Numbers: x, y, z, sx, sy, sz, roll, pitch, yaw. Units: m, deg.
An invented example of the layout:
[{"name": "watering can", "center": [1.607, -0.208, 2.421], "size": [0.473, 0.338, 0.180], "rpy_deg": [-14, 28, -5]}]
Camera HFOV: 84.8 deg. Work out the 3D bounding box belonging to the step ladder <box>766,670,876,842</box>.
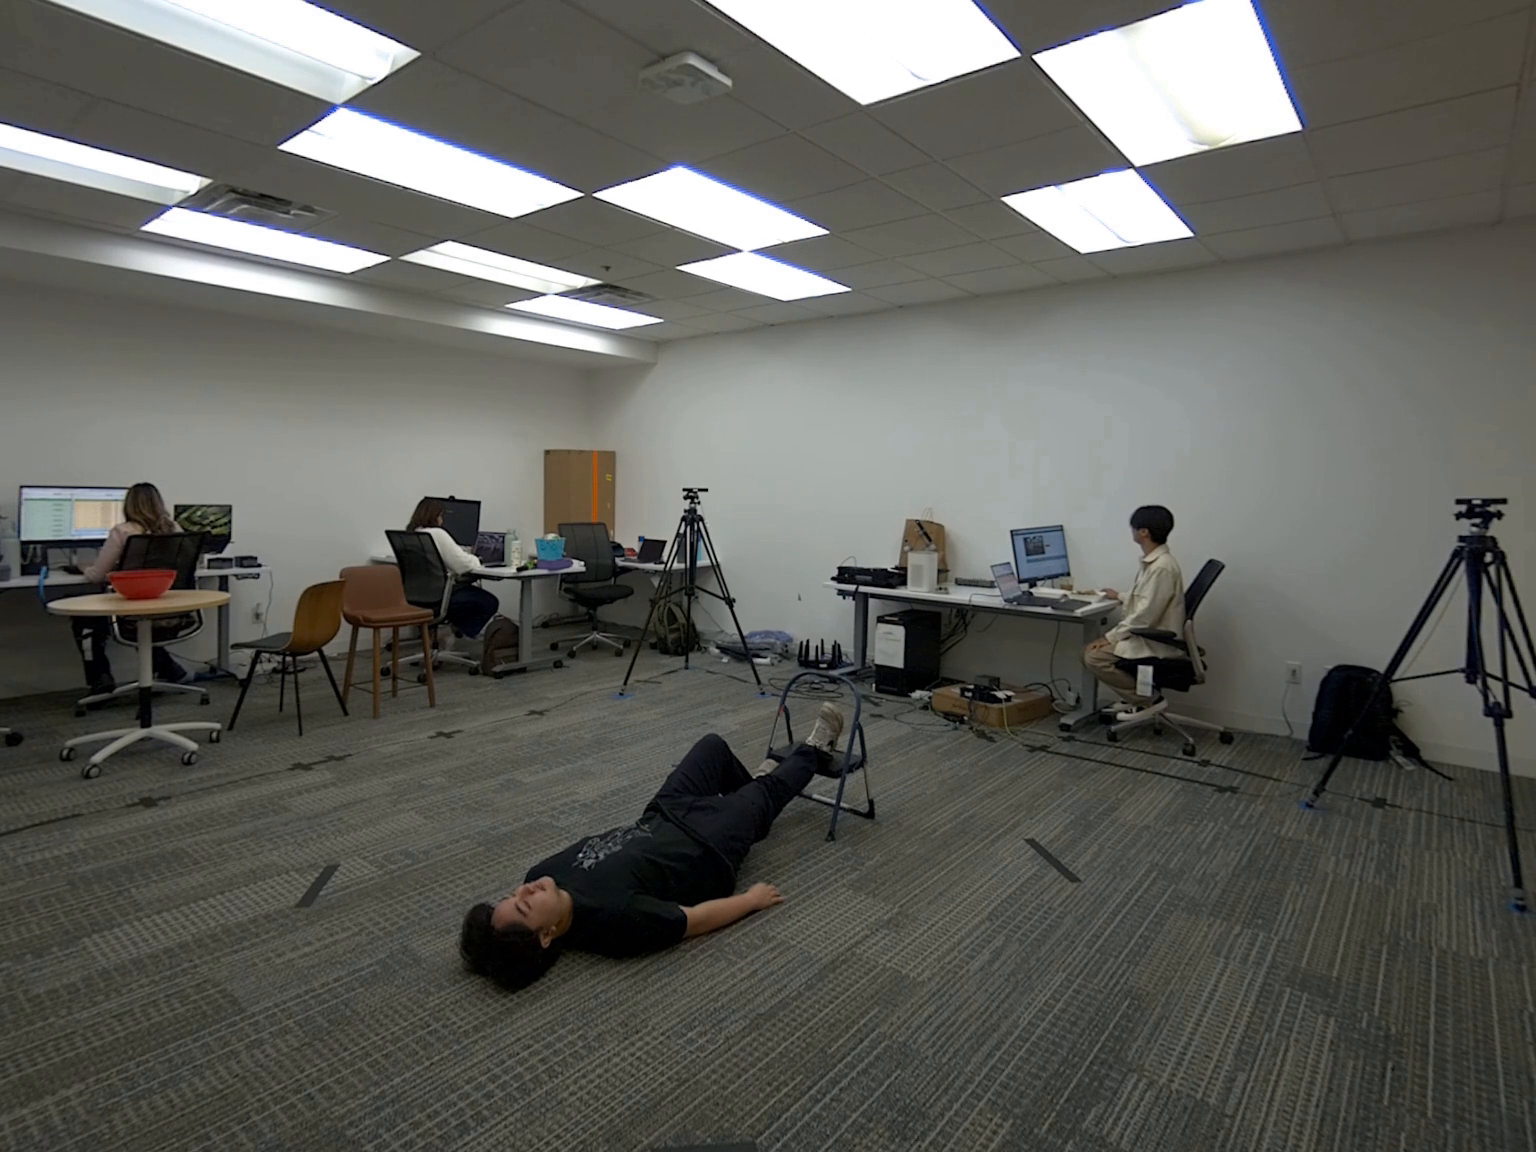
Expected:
[{"name": "step ladder", "center": [0.196, 0.727, 3.640], "size": [0.445, 0.604, 0.339], "rpy_deg": [5, 5, 40]}]
